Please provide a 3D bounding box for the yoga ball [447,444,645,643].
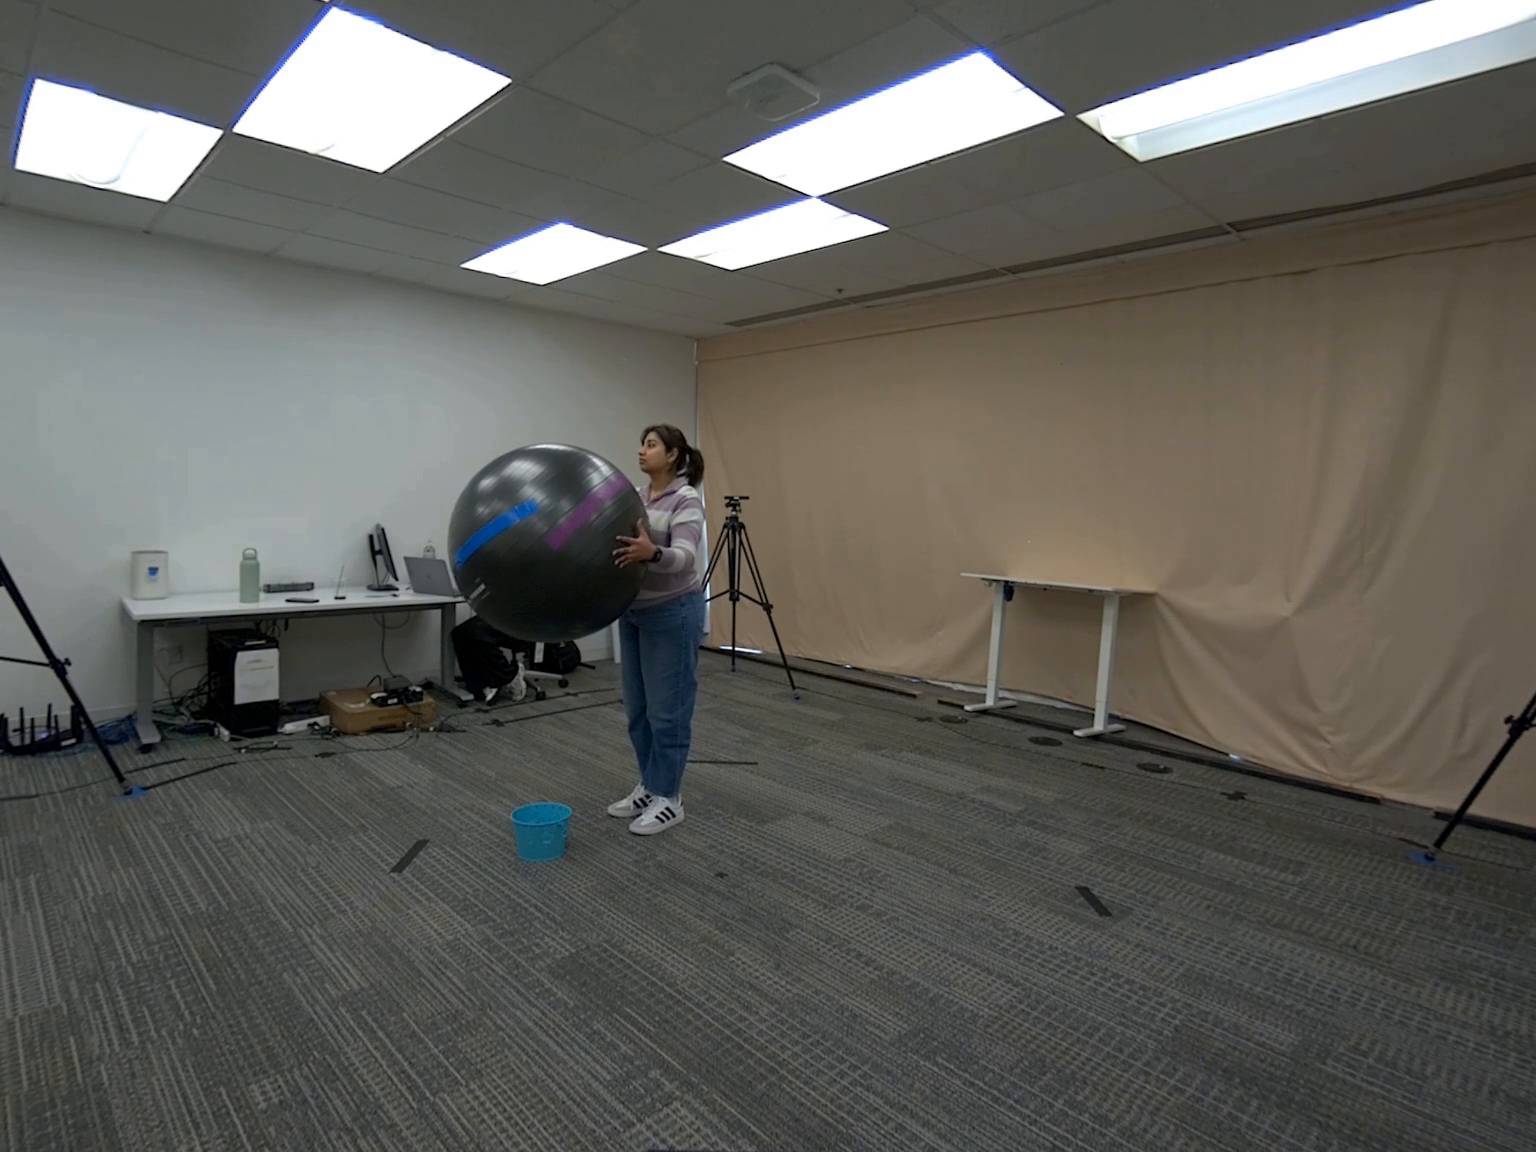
[{"bbox_3d":[-0.848,-0.124,3.214,0.757,0.756,0.761,1,4,-1],"label":"yoga ball"}]
